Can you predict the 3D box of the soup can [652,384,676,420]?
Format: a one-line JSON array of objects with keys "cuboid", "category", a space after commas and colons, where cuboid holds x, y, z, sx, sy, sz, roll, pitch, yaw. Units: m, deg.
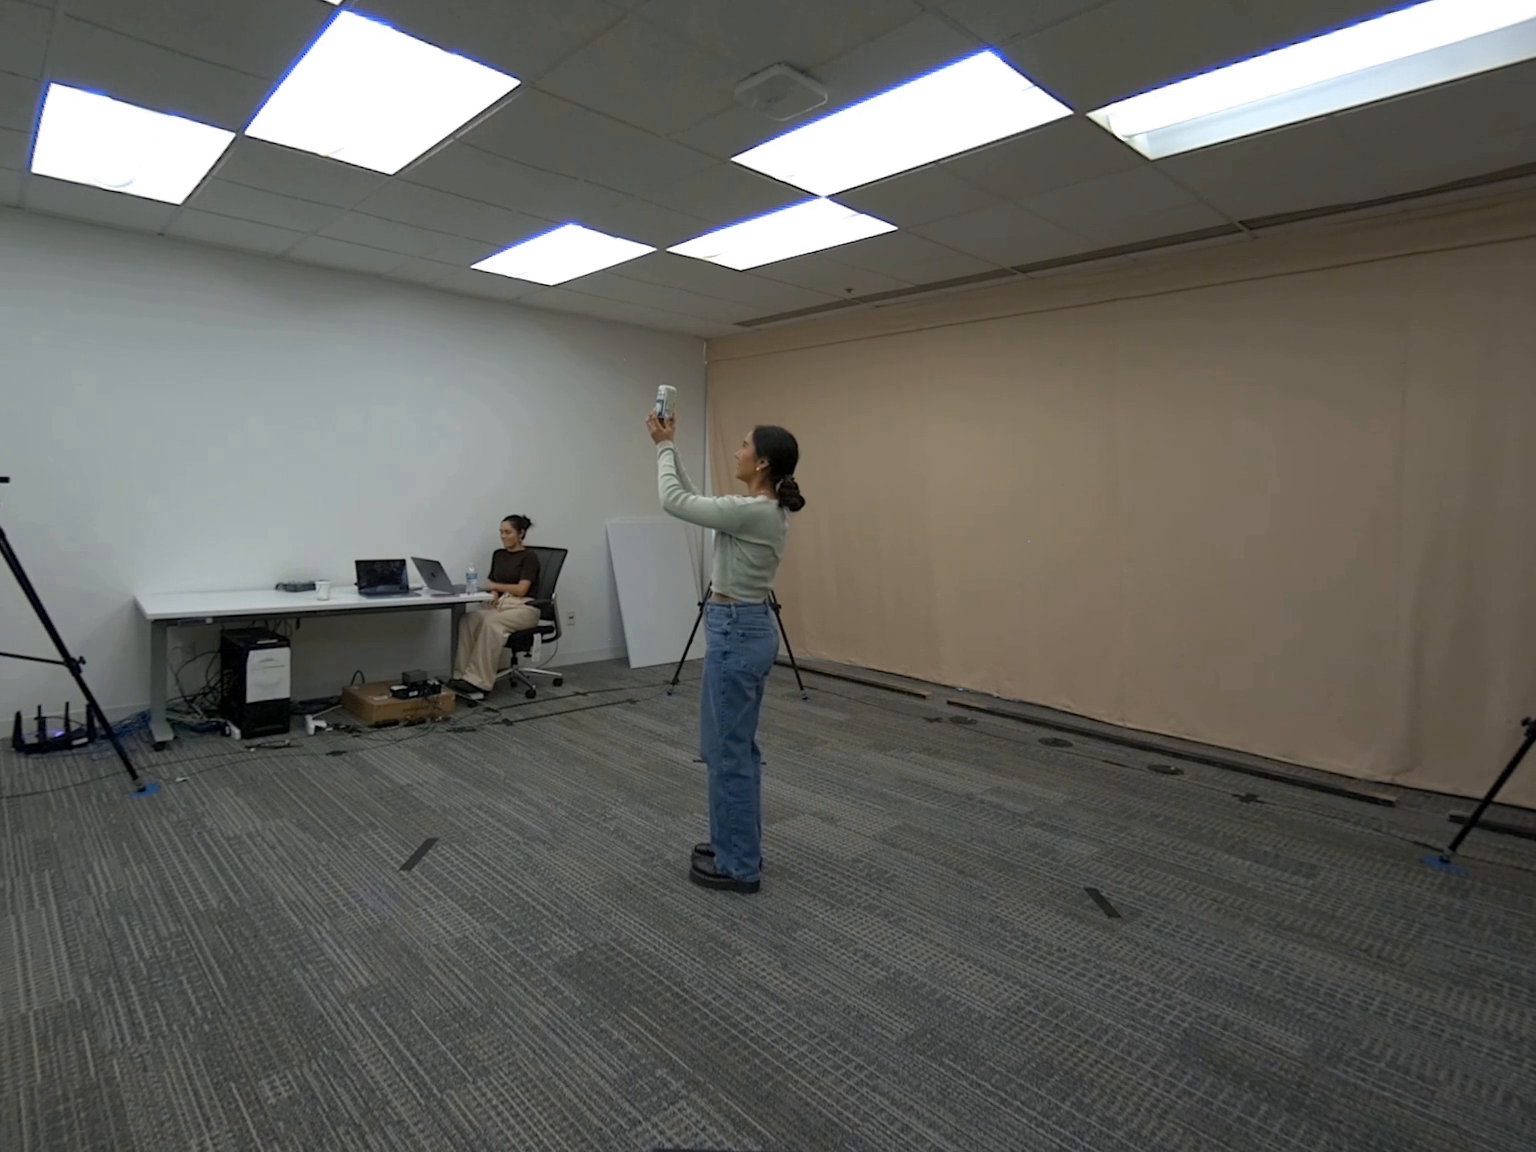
[{"cuboid": [-0.377, -0.640, 3.114, 0.067, 0.121, 0.067, 5, -1, -1], "category": "soup can"}]
